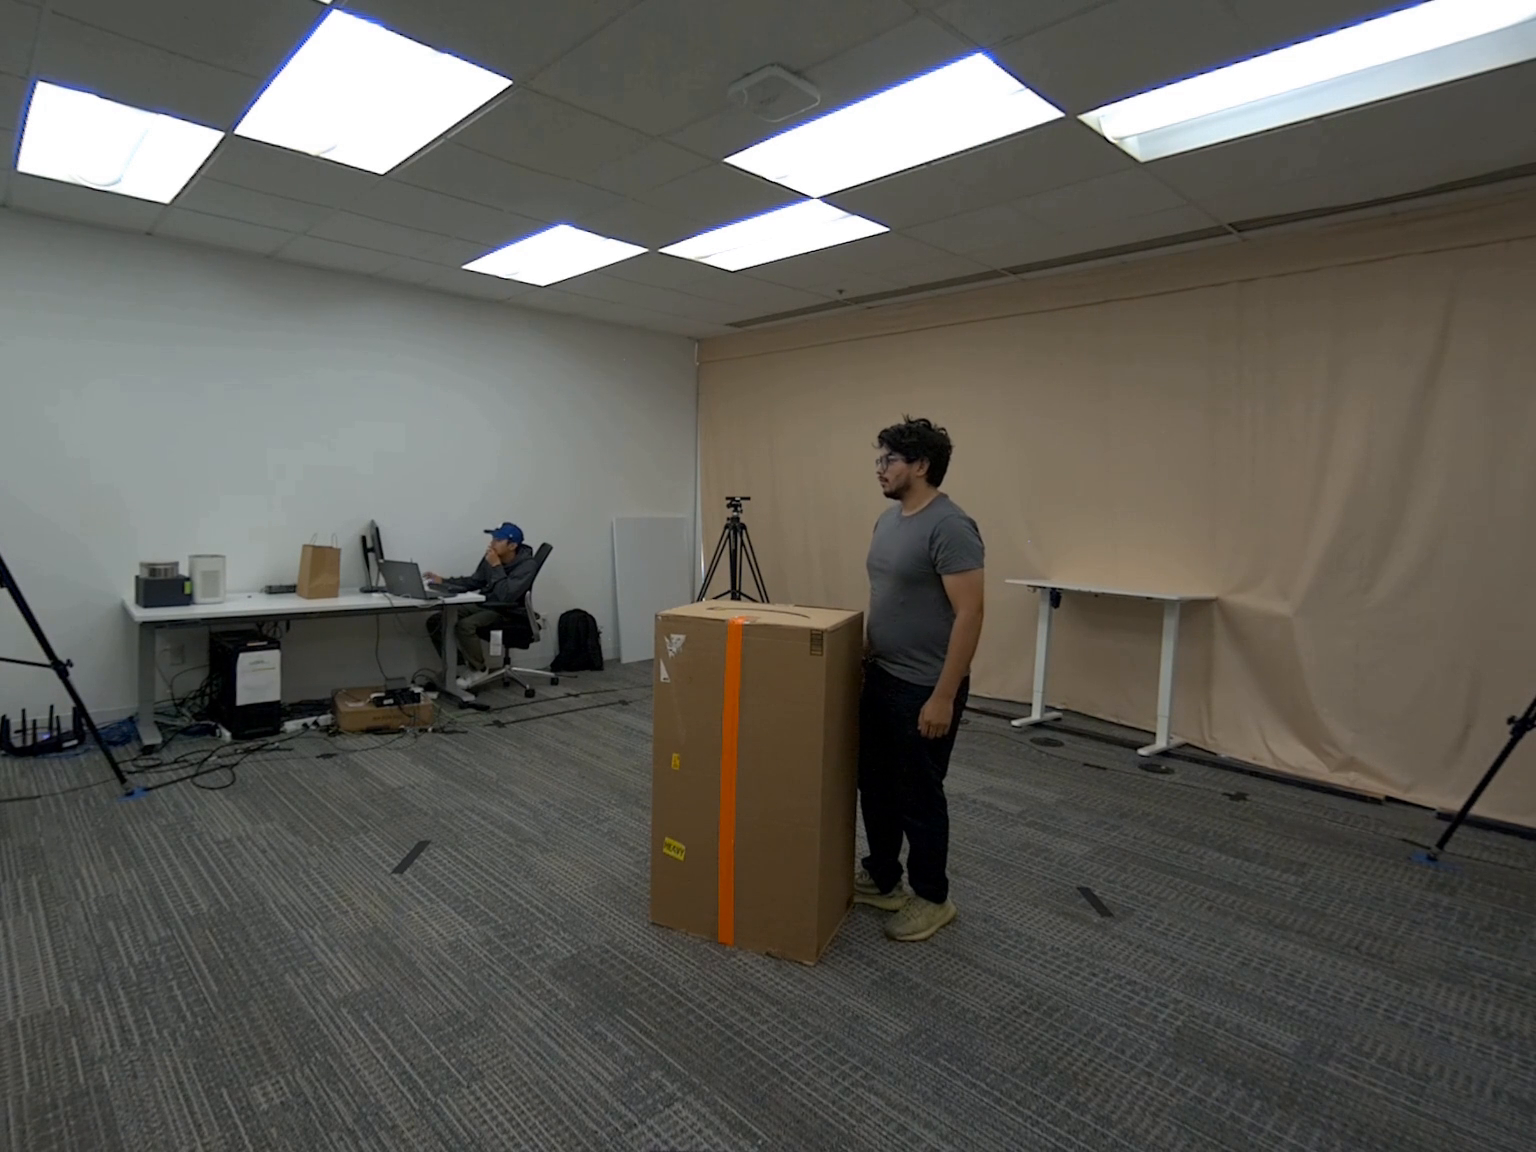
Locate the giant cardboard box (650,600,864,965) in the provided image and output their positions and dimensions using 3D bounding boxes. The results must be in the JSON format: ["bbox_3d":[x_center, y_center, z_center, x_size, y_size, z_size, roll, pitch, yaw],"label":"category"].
[{"bbox_3d":[-0.039,0.630,2.787,0.595,1.024,0.440,3,4,23],"label":"giant cardboard box"}]
